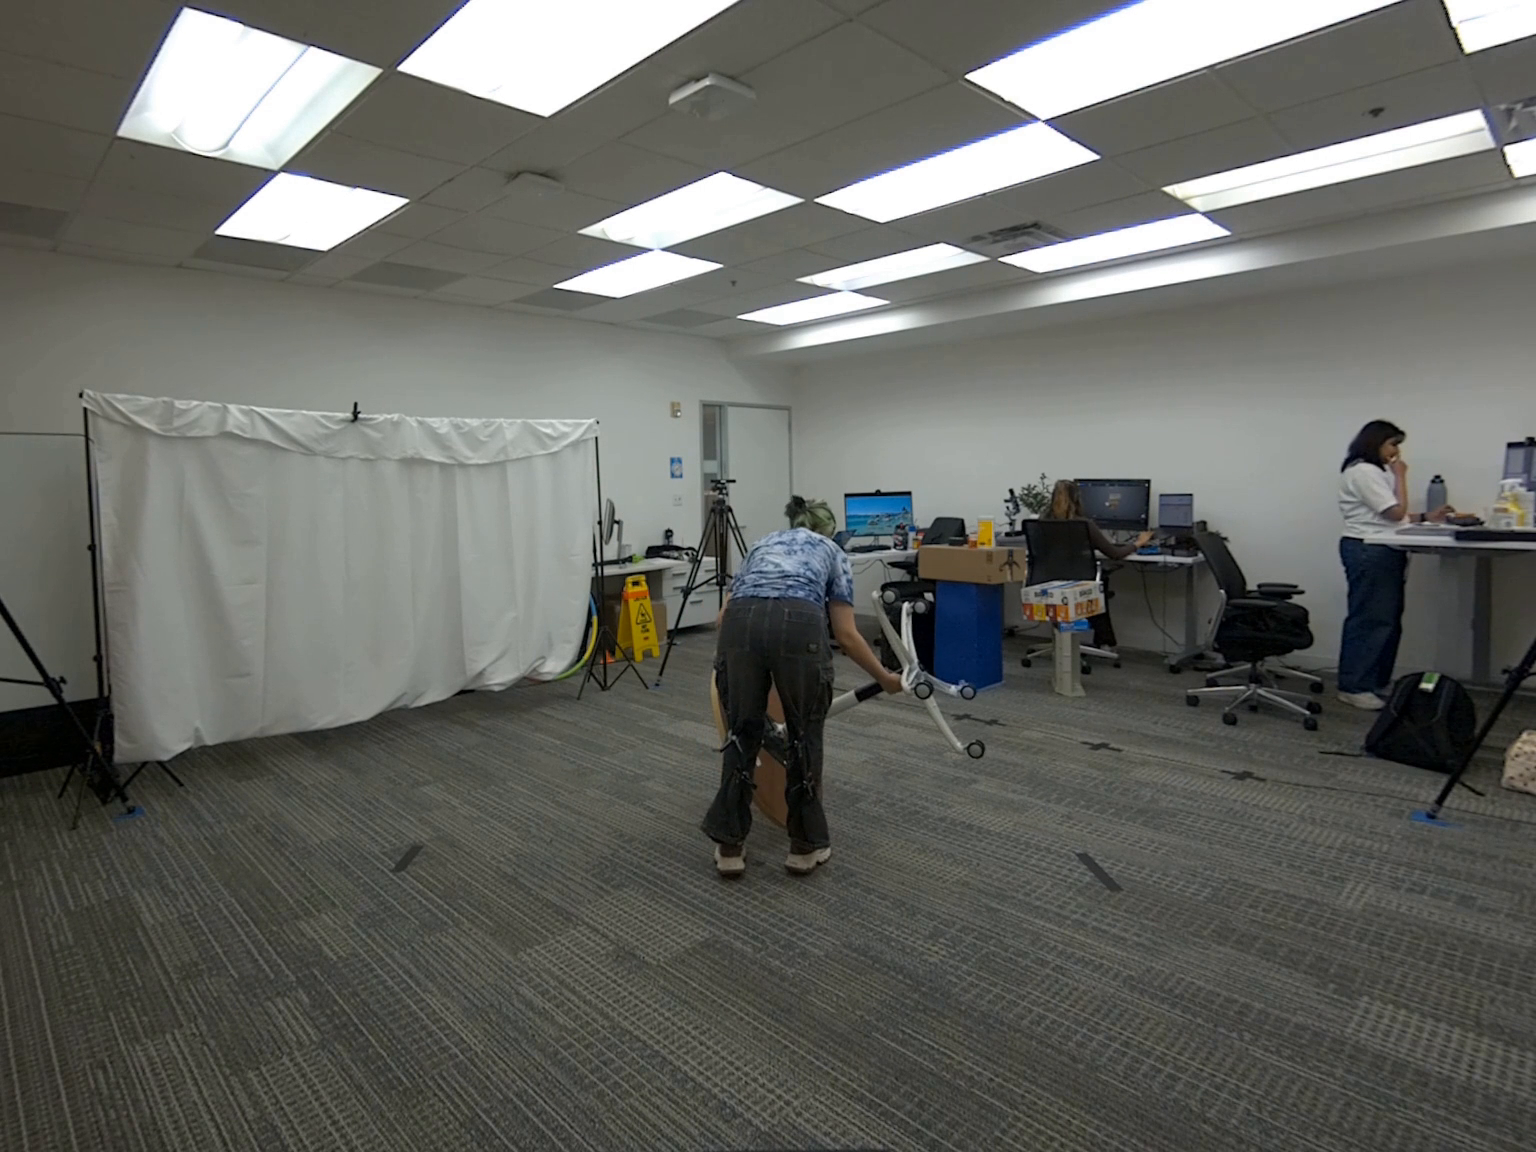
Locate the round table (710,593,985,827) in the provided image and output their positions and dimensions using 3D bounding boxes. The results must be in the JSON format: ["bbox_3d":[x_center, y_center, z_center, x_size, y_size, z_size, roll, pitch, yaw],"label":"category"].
[{"bbox_3d":[0.320,0.492,3.345,0.800,0.770,0.752,-29,-5,20],"label":"round table"}]
